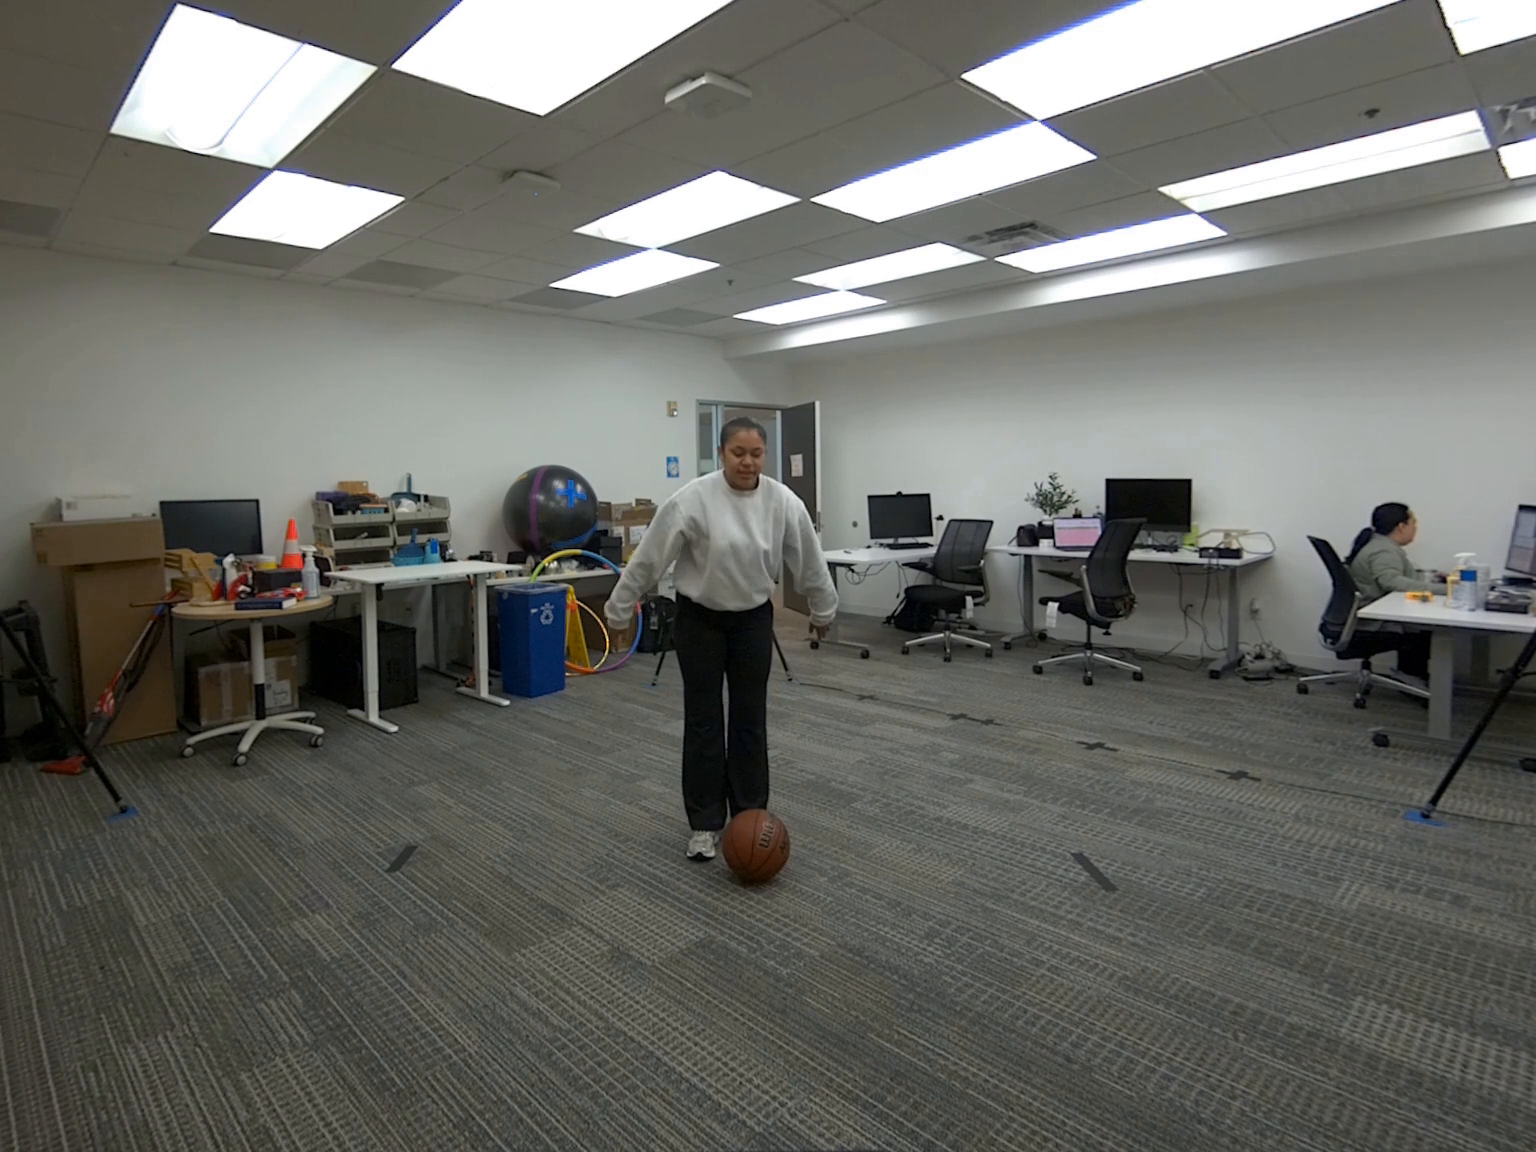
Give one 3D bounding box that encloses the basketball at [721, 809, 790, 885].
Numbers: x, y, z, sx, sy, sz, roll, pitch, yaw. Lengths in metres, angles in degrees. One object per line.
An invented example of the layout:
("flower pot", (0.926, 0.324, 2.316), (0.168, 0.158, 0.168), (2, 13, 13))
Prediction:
("basketball", (-0.040, 0.942, 2.985), (0.236, 0.235, 0.237), (-1, 5, -2))
